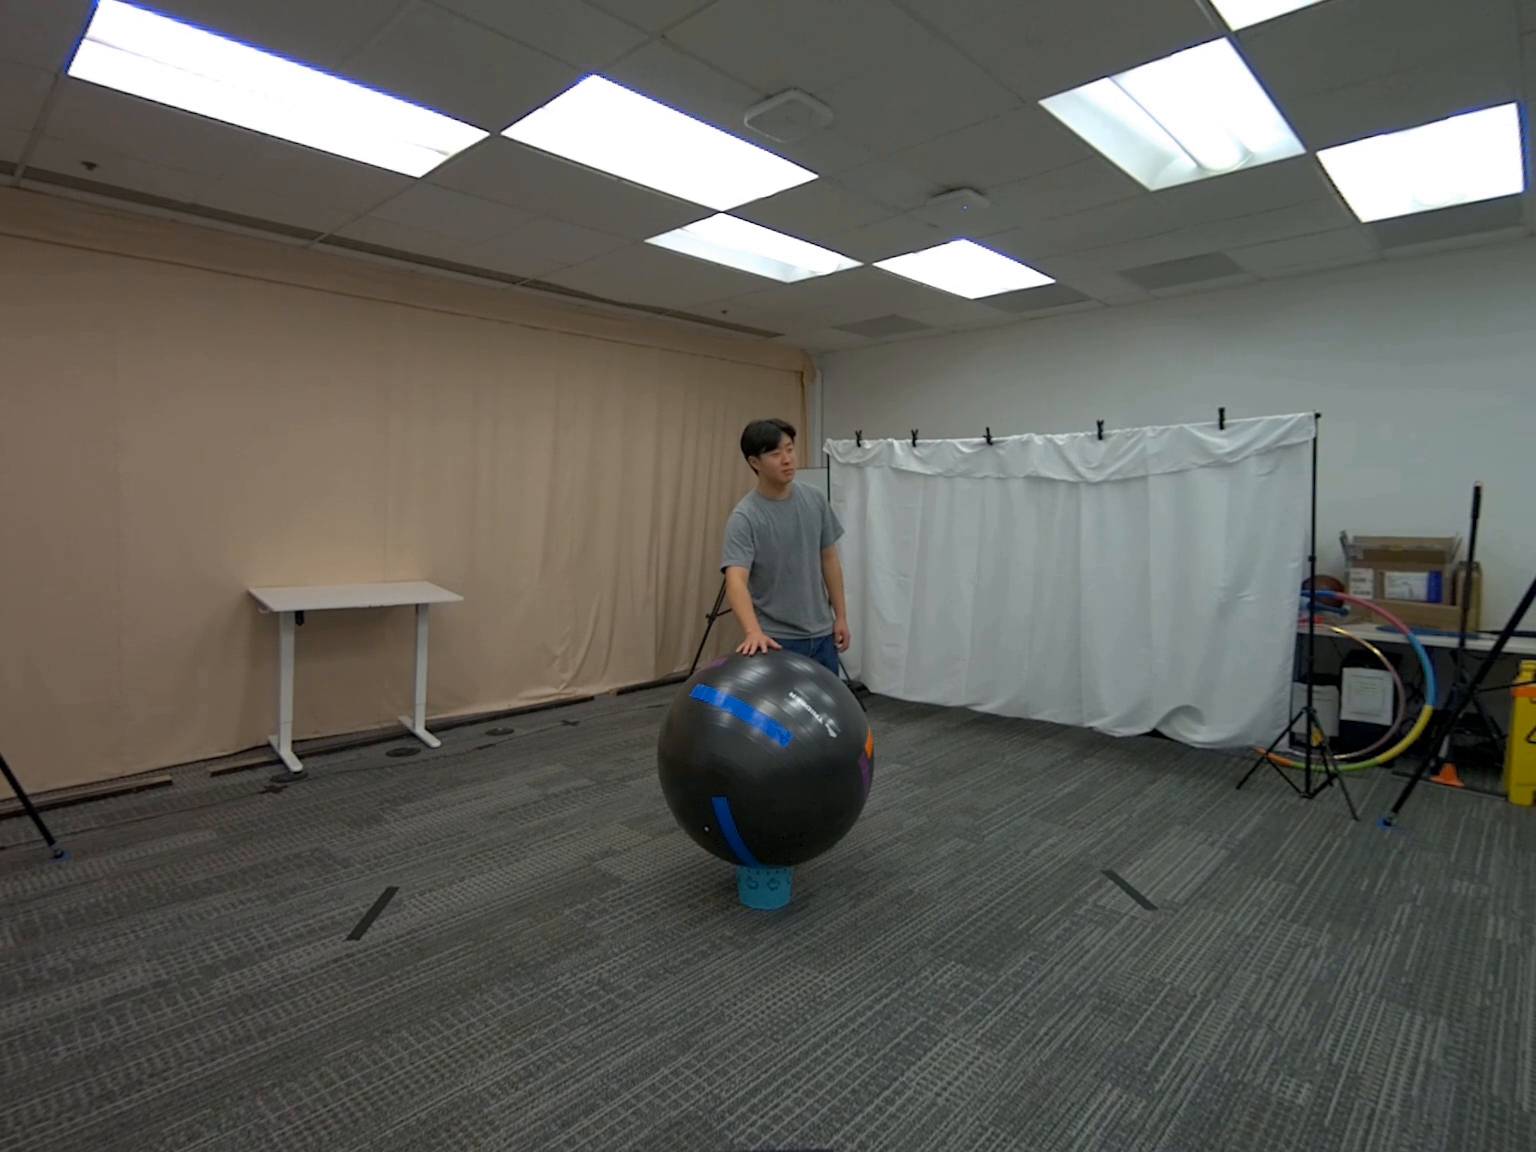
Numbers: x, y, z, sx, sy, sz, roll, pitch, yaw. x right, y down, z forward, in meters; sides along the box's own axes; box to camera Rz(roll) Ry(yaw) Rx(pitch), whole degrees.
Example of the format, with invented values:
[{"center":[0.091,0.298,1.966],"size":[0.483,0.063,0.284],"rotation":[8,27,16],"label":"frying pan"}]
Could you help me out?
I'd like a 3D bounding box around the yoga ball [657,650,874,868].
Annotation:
[{"center":[-0.011,0.629,2.976],"size":[0.757,0.756,0.760],"rotation":[0,4,-2],"label":"yoga ball"}]
